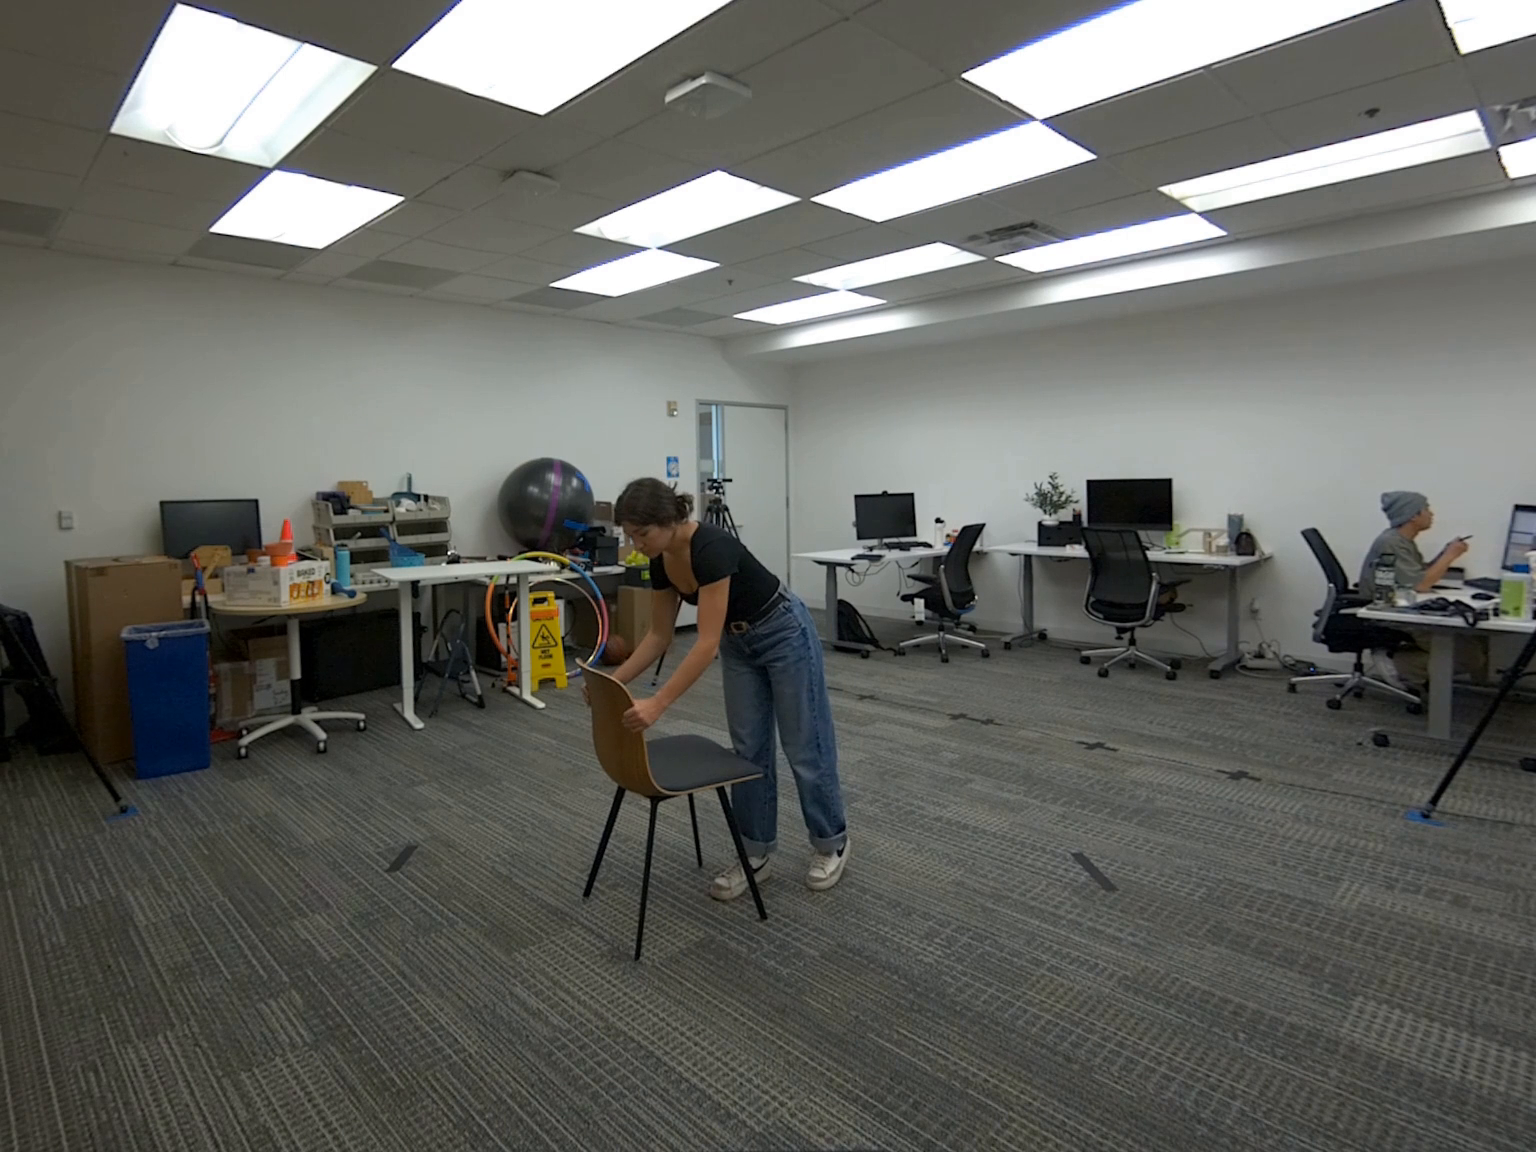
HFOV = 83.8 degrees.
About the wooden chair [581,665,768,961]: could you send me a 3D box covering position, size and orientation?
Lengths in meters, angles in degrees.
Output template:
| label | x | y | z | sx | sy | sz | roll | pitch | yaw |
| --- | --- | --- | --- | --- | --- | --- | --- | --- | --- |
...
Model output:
| label | x | y | z | sx | sy | sz | roll | pitch | yaw |
| --- | --- | --- | --- | --- | --- | --- | --- | --- | --- |
| wooden chair | -0.315 | 0.661 | 2.764 | 0.512 | 0.872 | 0.491 | -9 | 8 | -31 |
